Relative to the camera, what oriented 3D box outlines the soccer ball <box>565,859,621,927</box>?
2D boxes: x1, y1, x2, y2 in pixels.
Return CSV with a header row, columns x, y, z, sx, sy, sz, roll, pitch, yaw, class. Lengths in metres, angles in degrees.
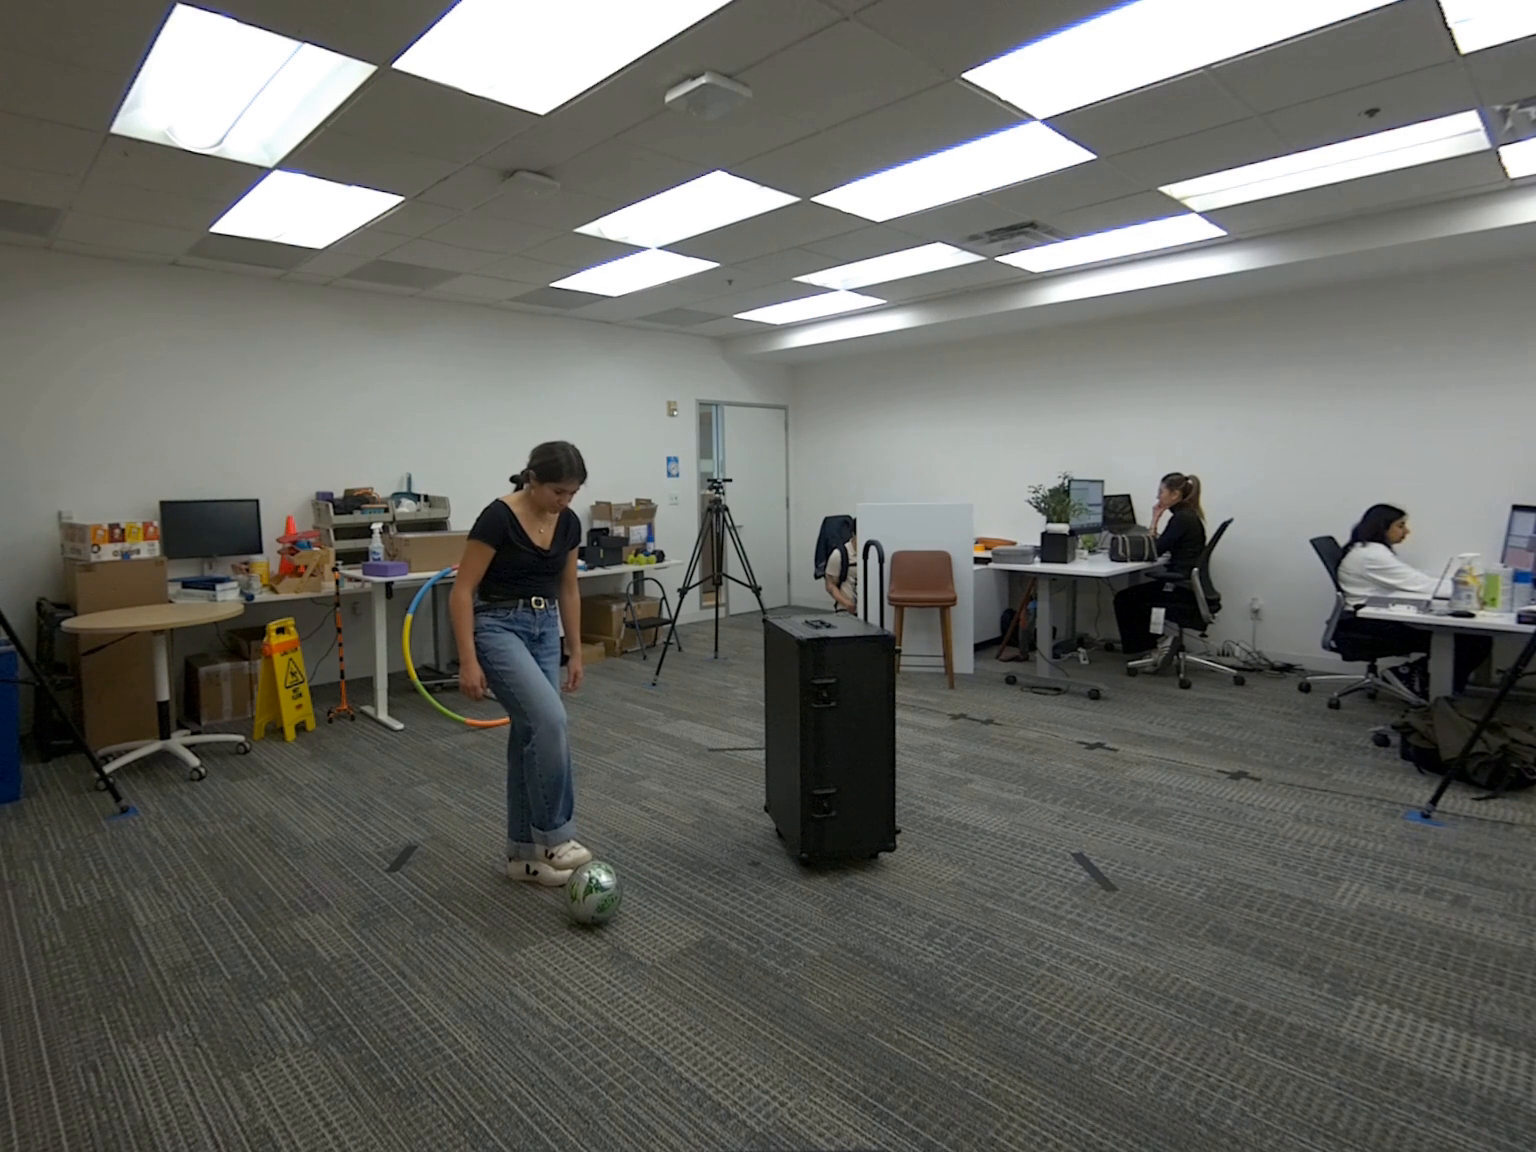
x,y,z,sx,sy,sz,roll,pitch,yaw,class
-0.548,1.009,2.716,0.187,0.187,0.188,-1,5,-2,soccer ball
